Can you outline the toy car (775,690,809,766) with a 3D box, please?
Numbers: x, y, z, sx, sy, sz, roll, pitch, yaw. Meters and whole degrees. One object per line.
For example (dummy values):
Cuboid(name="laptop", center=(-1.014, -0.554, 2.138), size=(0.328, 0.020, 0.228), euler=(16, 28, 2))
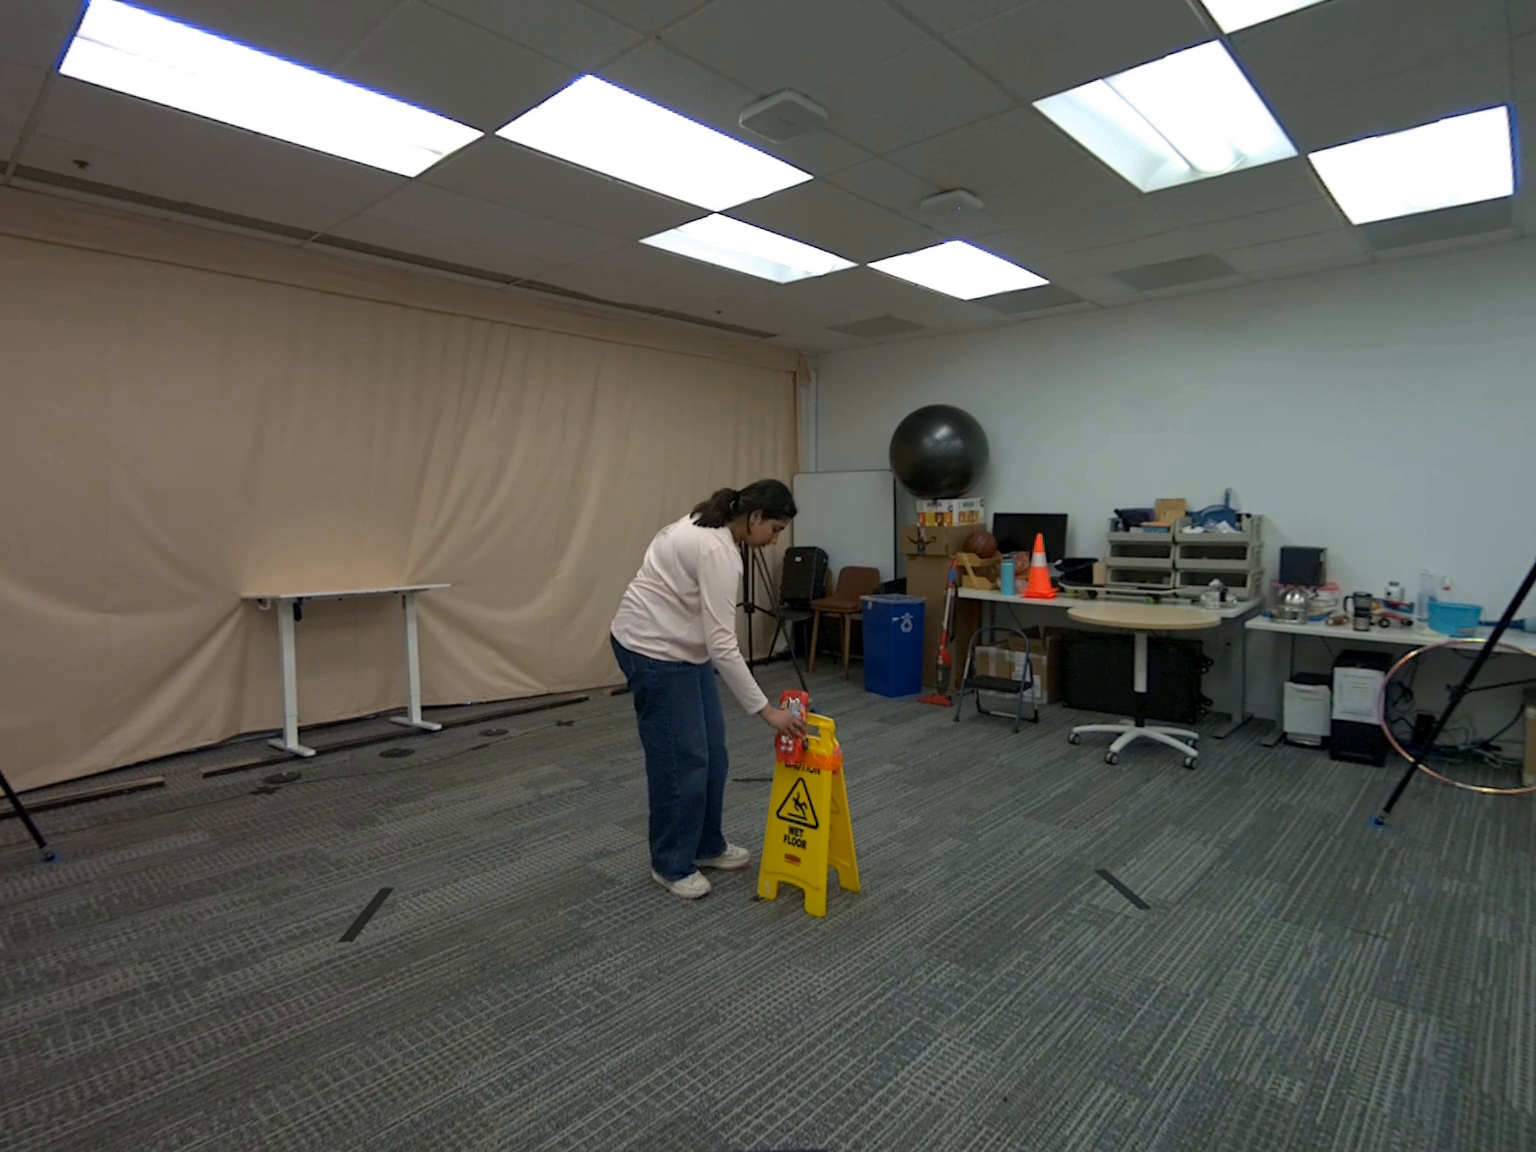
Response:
Cuboid(name="toy car", center=(0.090, 0.543, 2.972), size=(0.134, 0.256, 0.080), euler=(1, -23, 31))
